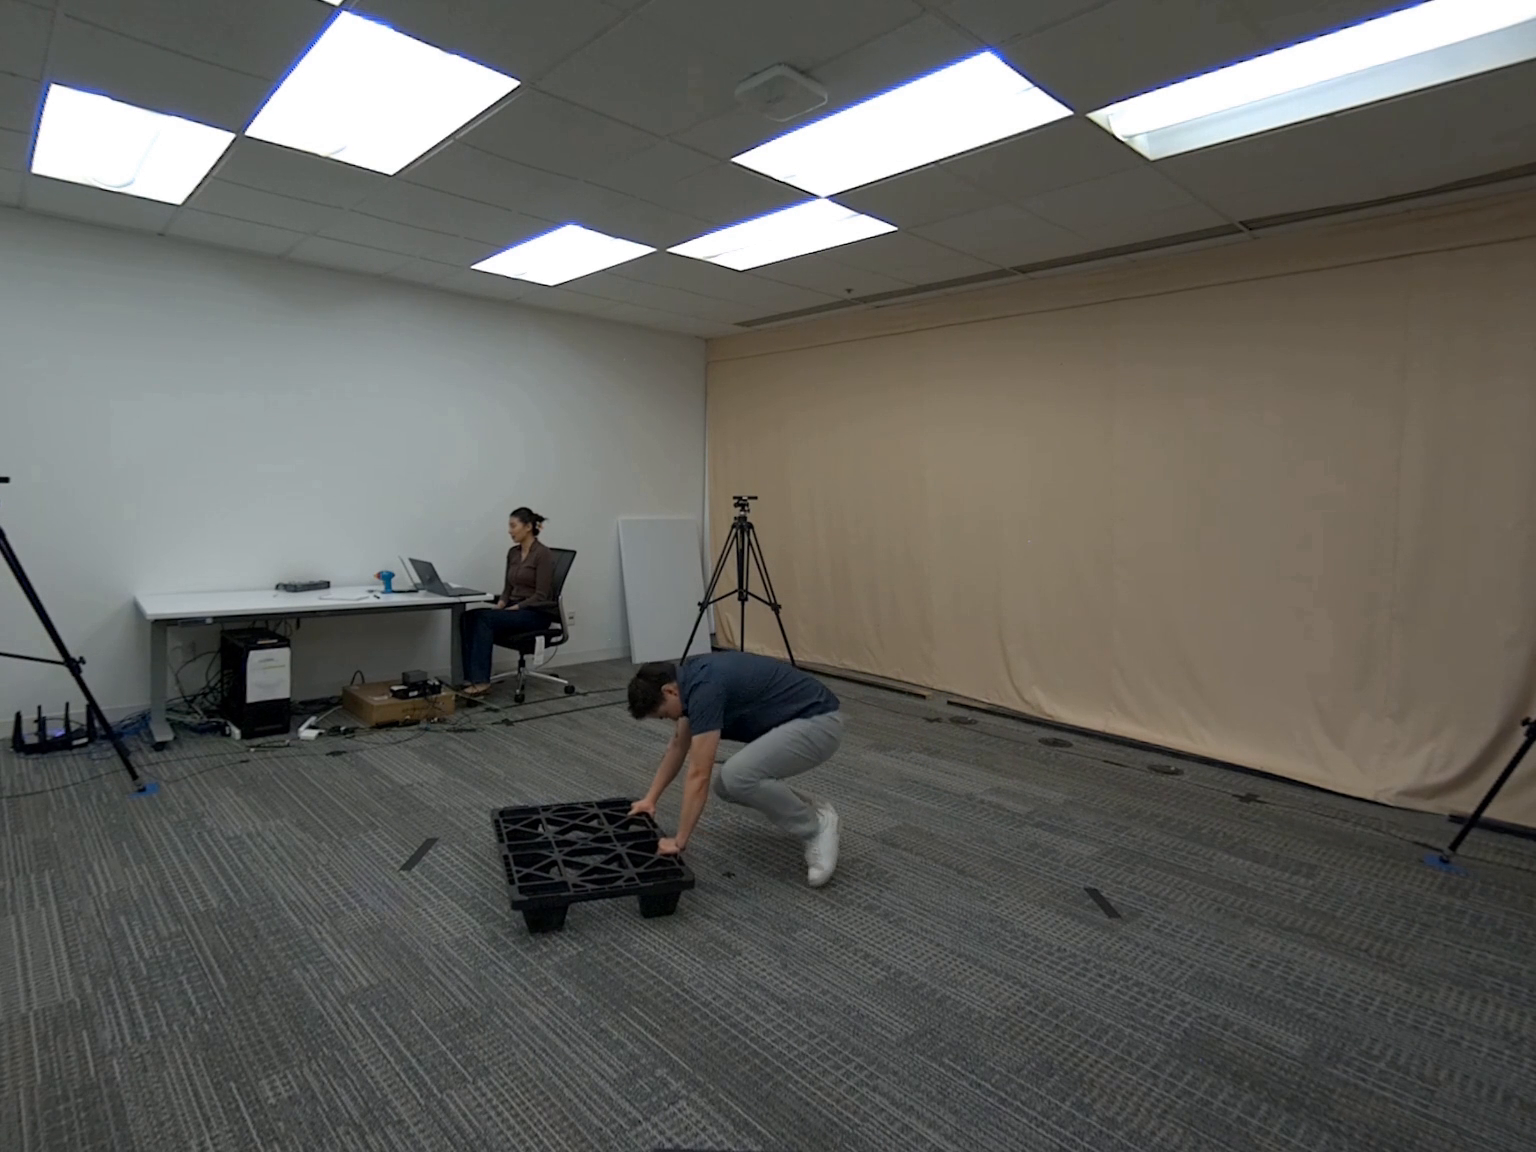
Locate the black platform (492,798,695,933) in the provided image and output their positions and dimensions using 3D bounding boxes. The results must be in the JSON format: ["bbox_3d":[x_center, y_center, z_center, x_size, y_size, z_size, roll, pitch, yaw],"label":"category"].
[{"bbox_3d":[-0.674,1.026,3.049,0.595,0.143,0.821,0,5,-22],"label":"black platform"}]
